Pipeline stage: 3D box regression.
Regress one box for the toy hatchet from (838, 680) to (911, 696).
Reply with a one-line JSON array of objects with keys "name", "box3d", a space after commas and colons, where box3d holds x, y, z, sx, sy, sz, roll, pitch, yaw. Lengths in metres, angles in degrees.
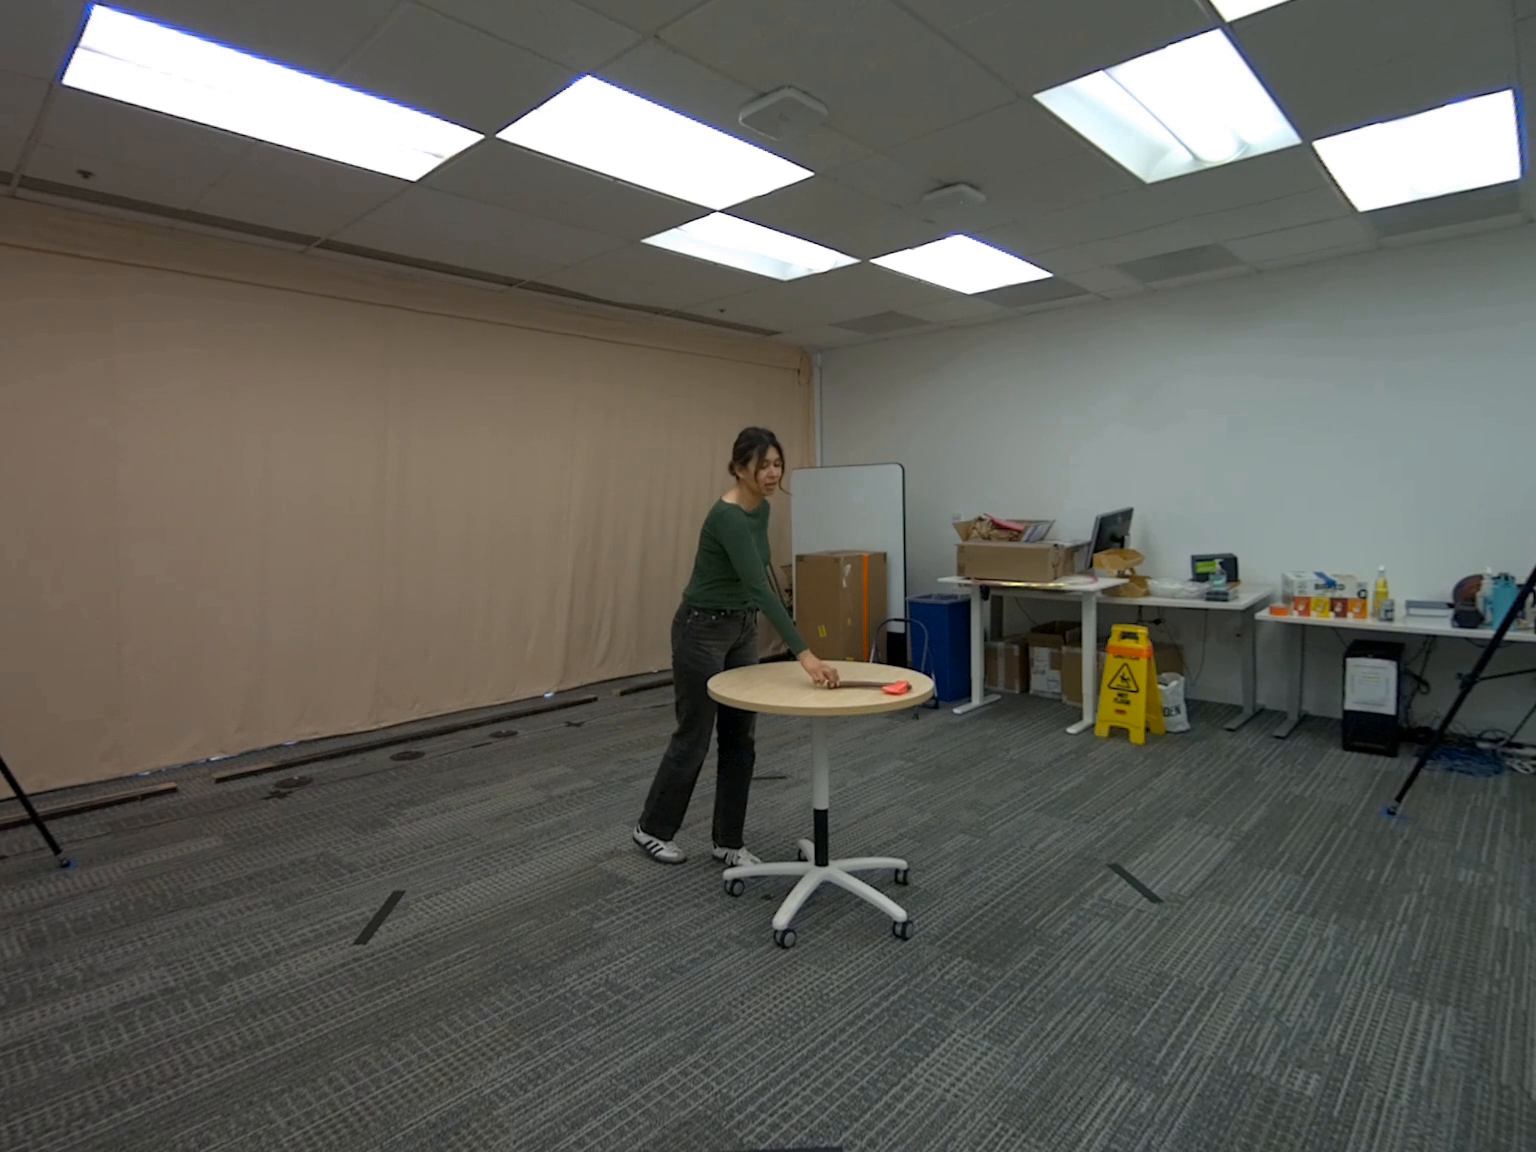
[{"name": "toy hatchet", "box3d": [0.333, 0.364, 2.700, 0.271, 0.029, 0.131, -3, 7, 5]}]
